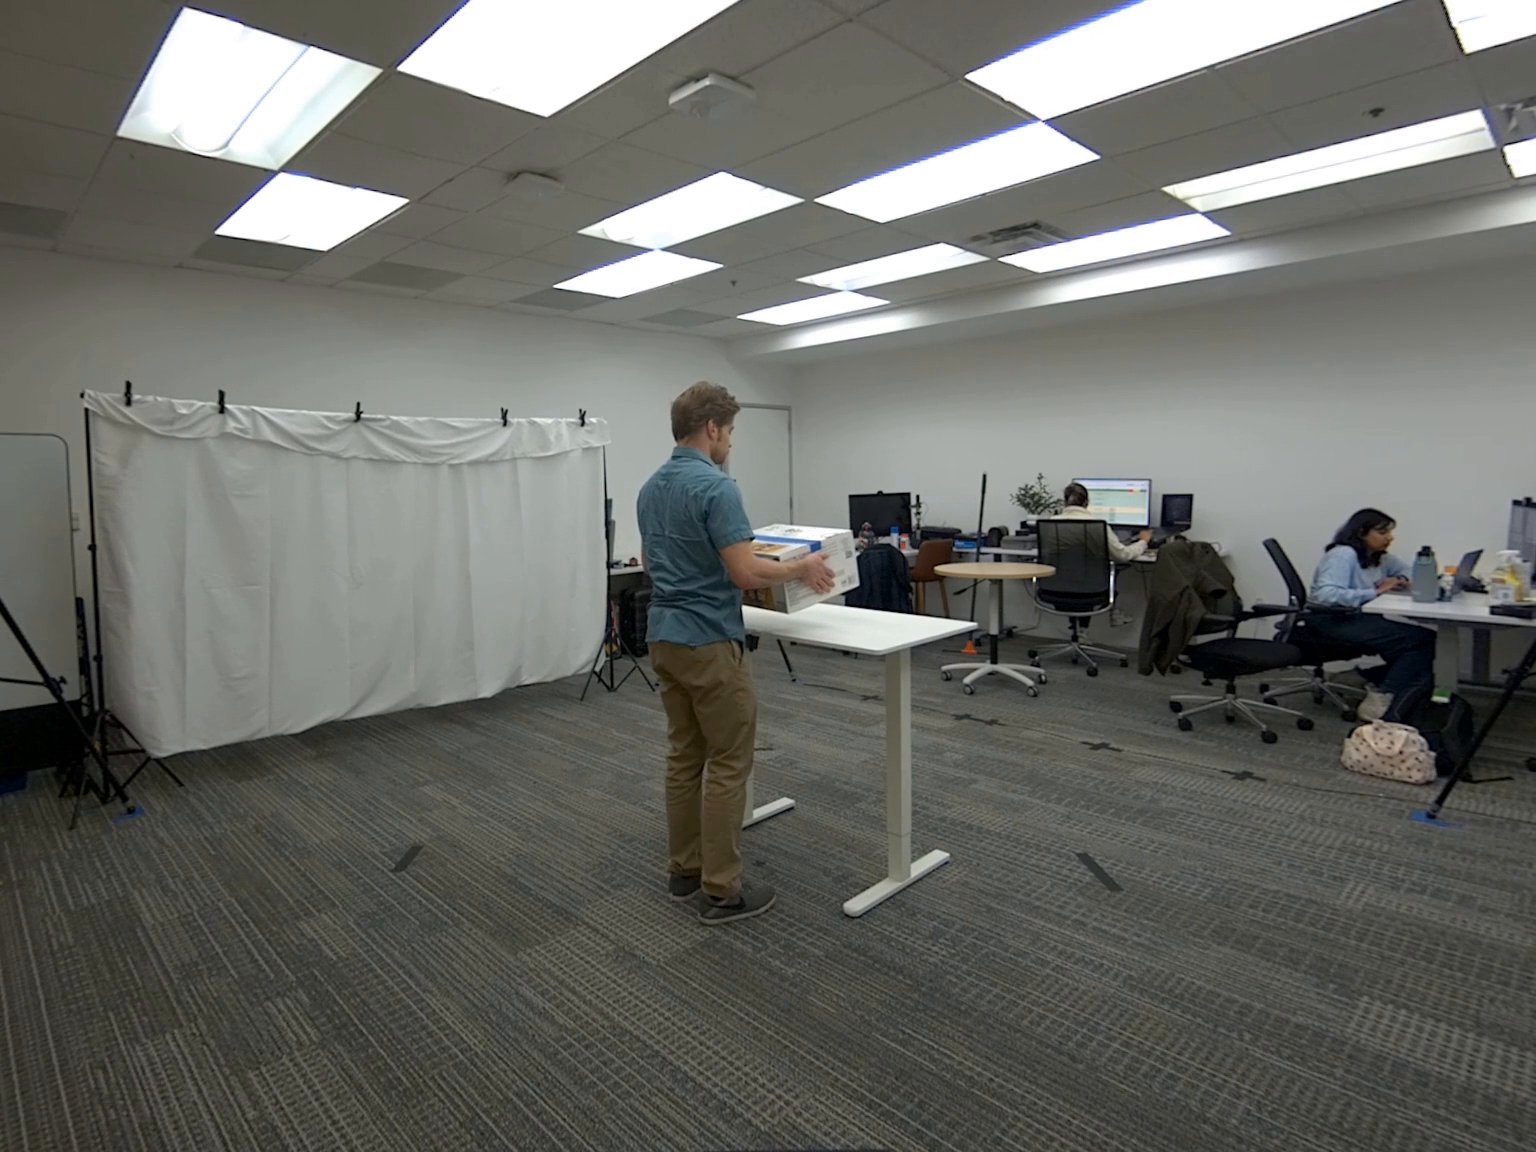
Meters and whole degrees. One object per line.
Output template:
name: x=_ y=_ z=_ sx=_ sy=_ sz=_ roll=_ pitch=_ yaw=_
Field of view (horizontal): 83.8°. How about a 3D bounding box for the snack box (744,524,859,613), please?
snack box: x=0.048 y=-0.033 z=3.008 sx=0.334 sy=0.203 sz=0.418 roll=-20 pitch=18 yaw=-36
